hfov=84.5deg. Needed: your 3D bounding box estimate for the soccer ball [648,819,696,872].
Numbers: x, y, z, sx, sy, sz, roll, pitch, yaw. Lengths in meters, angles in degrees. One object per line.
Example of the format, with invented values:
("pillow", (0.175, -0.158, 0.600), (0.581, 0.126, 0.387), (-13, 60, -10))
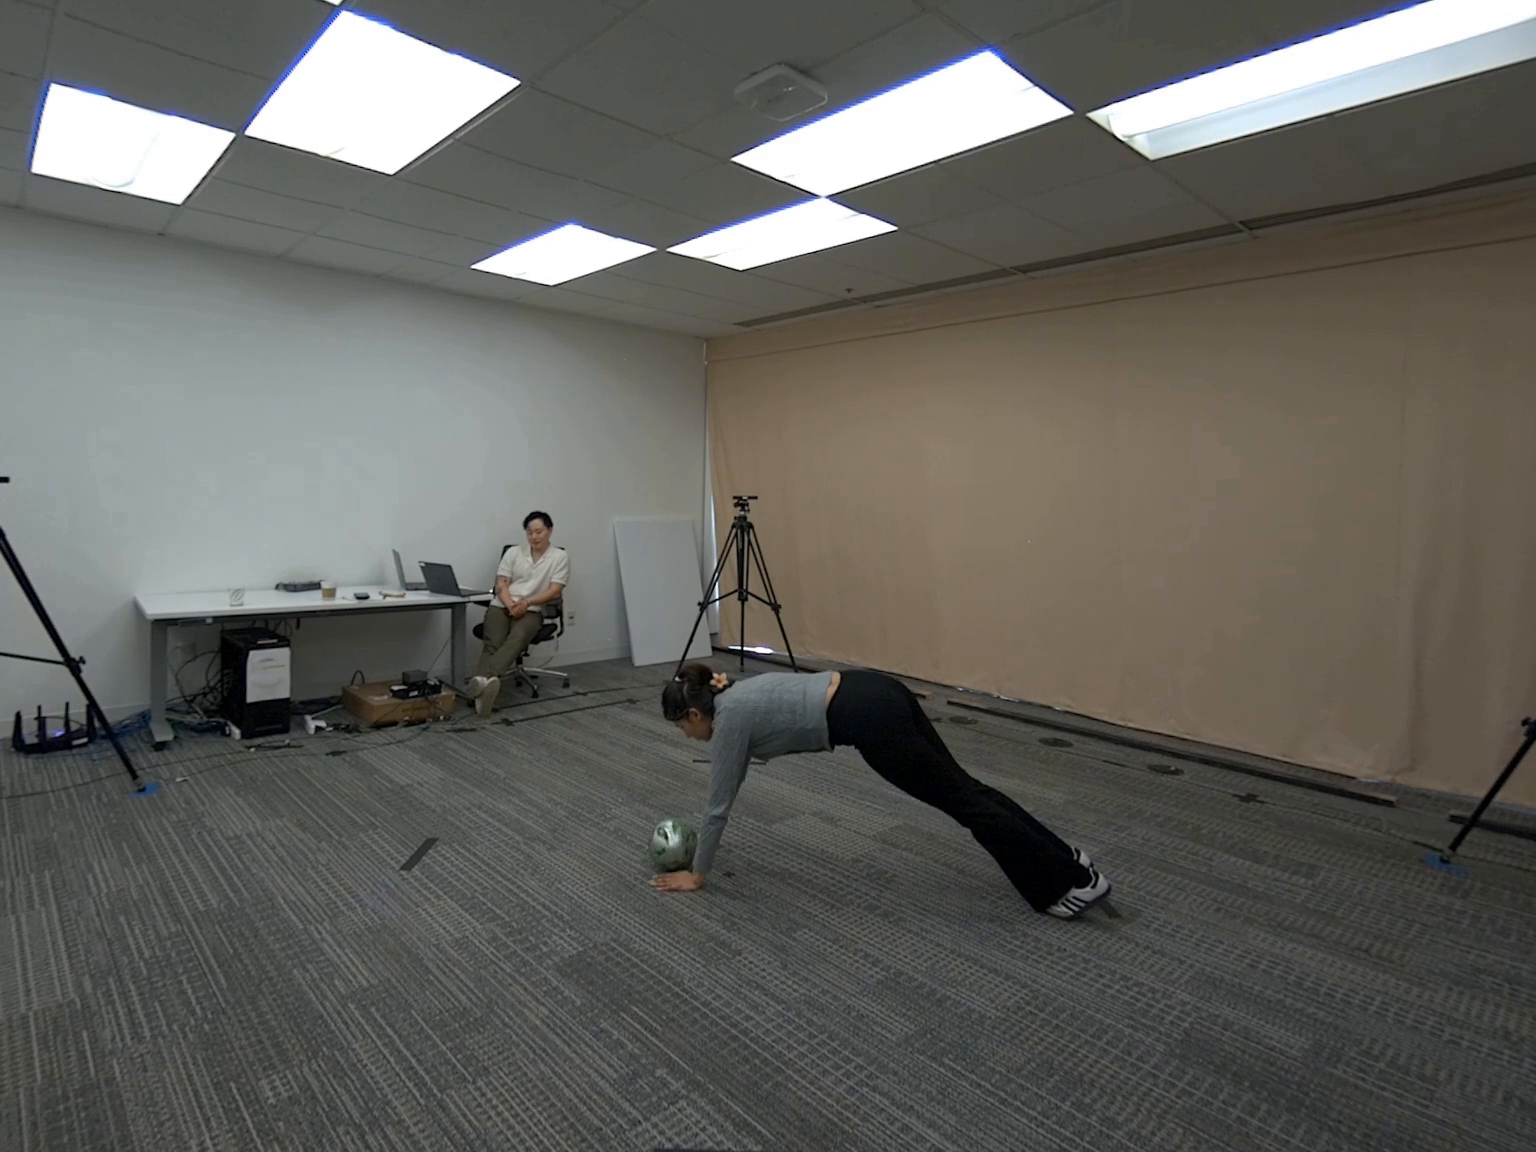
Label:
("soccer ball", (-0.361, 0.991, 3.144), (0.187, 0.187, 0.188), (1, 4, -1))
